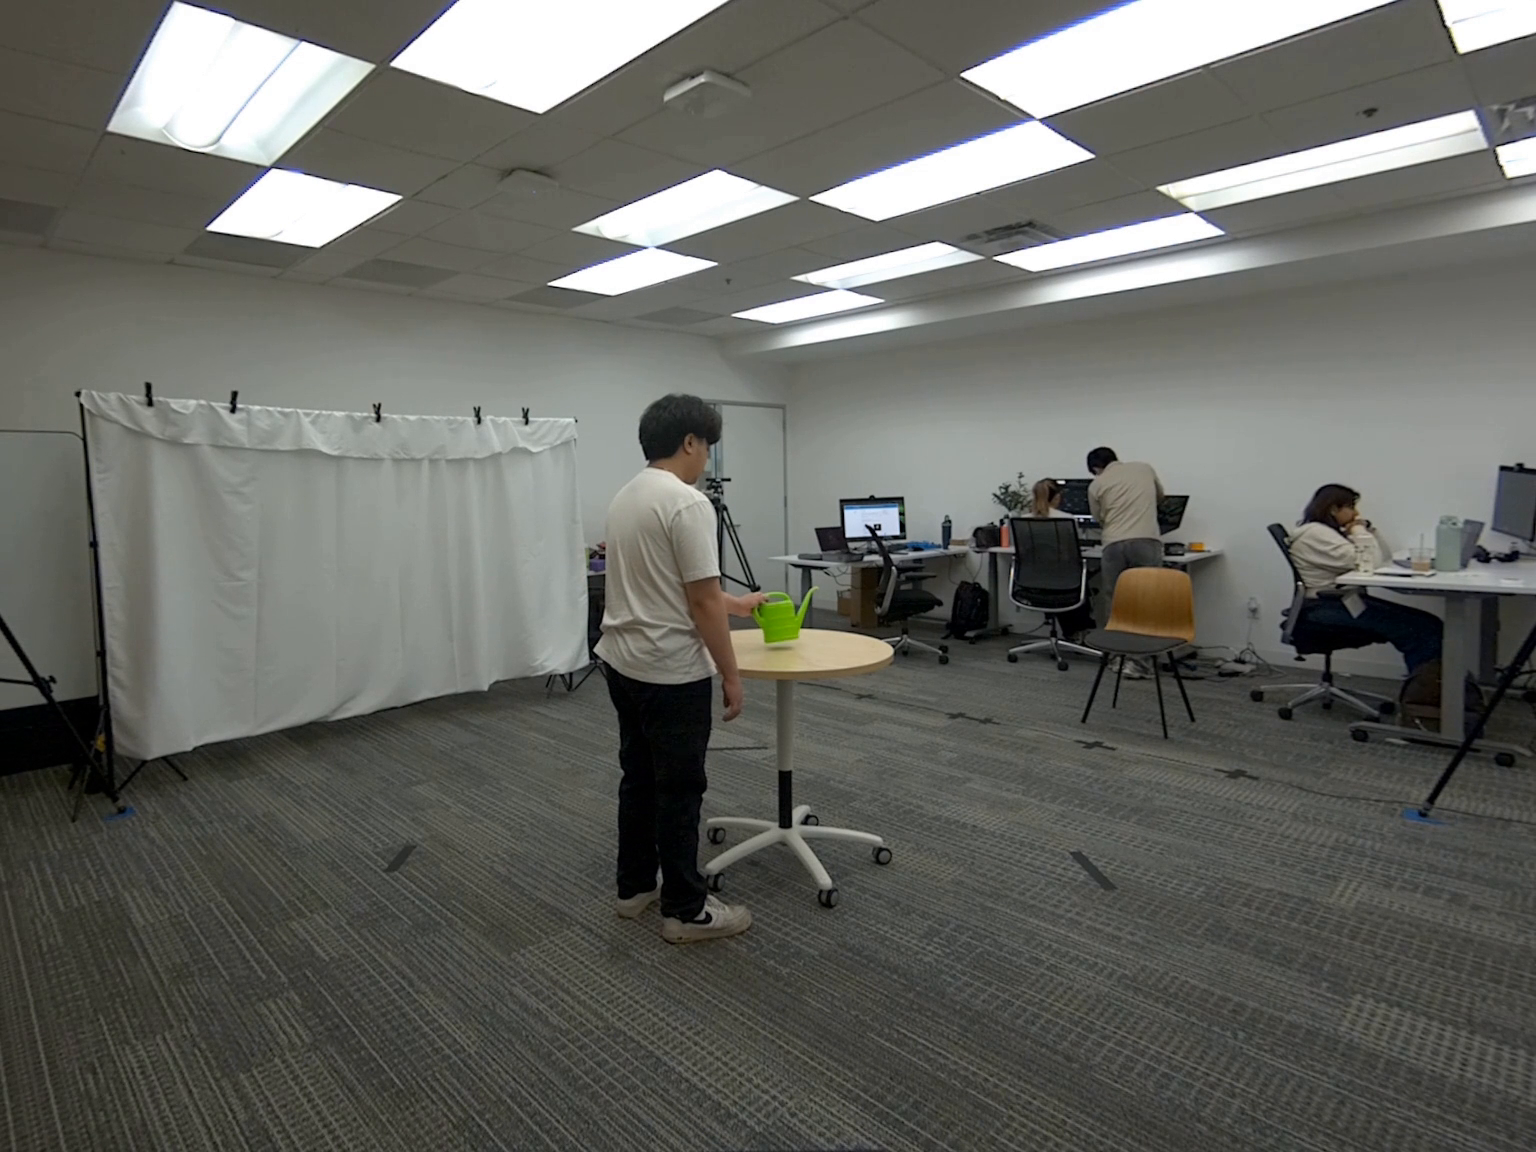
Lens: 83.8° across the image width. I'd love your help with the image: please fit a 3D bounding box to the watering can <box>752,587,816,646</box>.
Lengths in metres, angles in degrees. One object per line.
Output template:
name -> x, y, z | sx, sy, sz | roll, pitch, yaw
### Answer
watering can -> 0.085, 0.143, 3.040 | 0.275, 0.177, 0.099 | -8, -3, -15
